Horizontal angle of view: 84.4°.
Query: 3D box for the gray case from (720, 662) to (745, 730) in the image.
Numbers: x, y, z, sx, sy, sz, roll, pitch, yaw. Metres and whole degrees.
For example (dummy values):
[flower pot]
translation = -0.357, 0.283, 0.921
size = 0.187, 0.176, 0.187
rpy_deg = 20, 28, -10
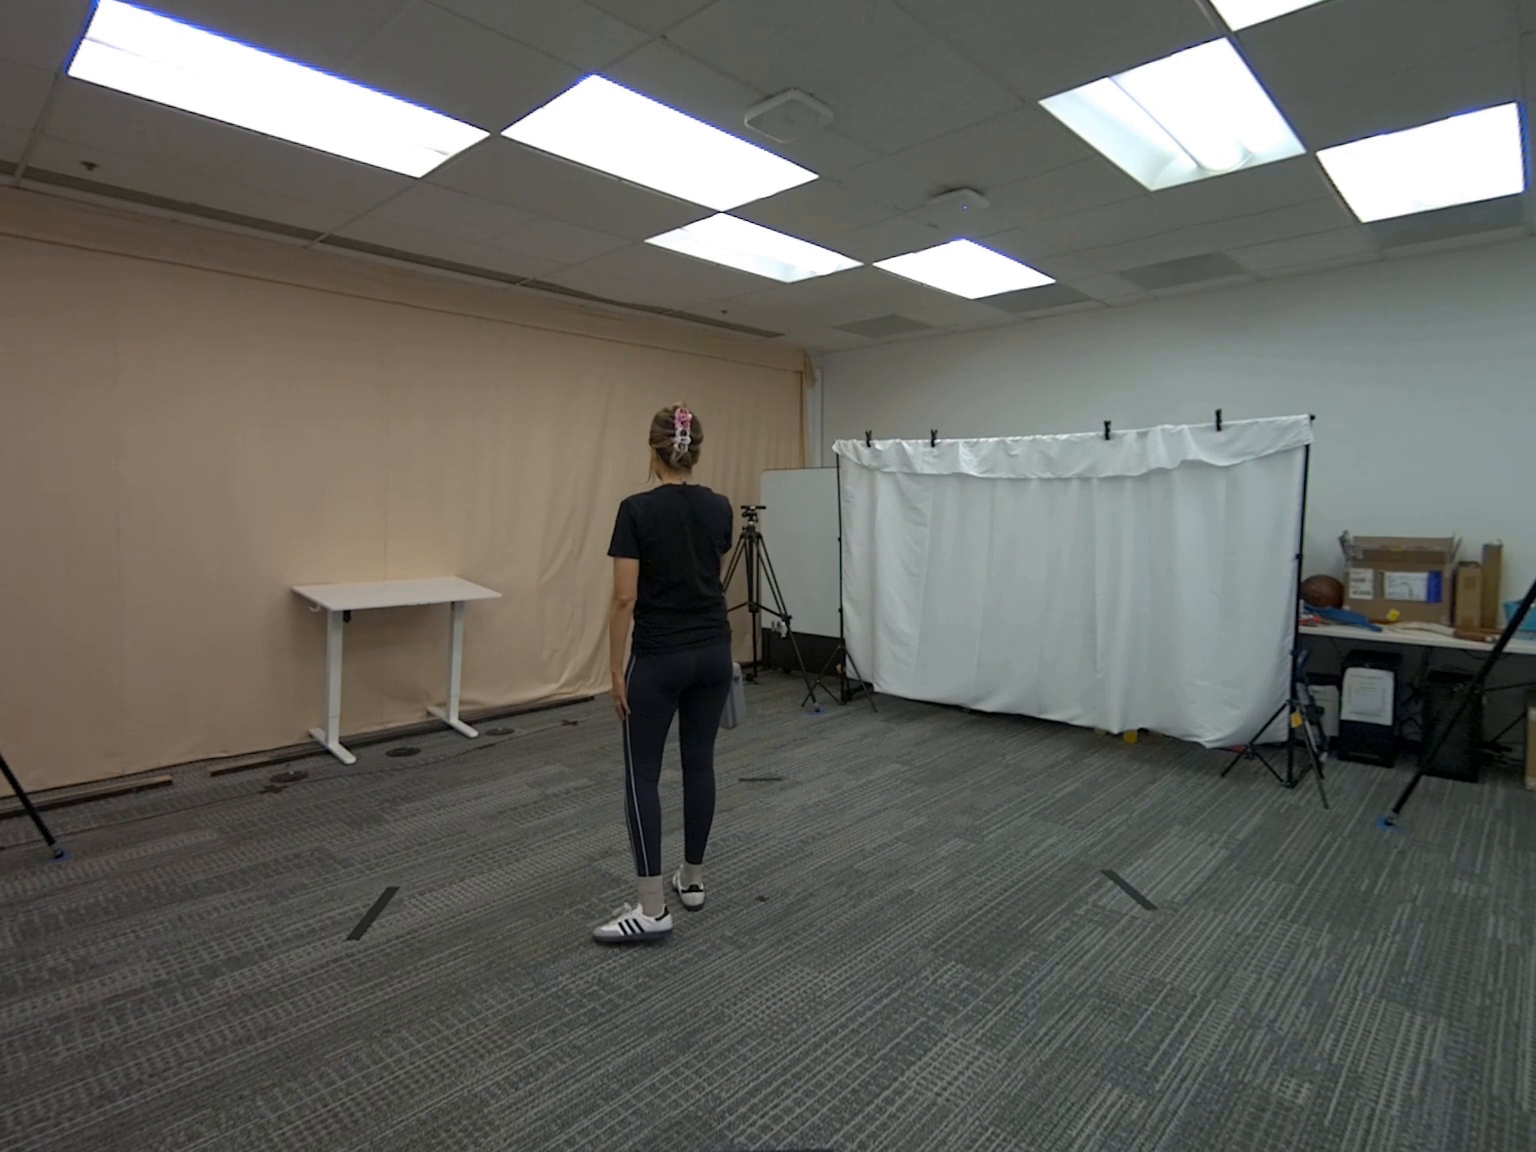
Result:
[gray case]
translation = -0.211, 0.445, 3.314
size = 0.101, 0.259, 0.266
rpy_deg = -11, 12, -40
